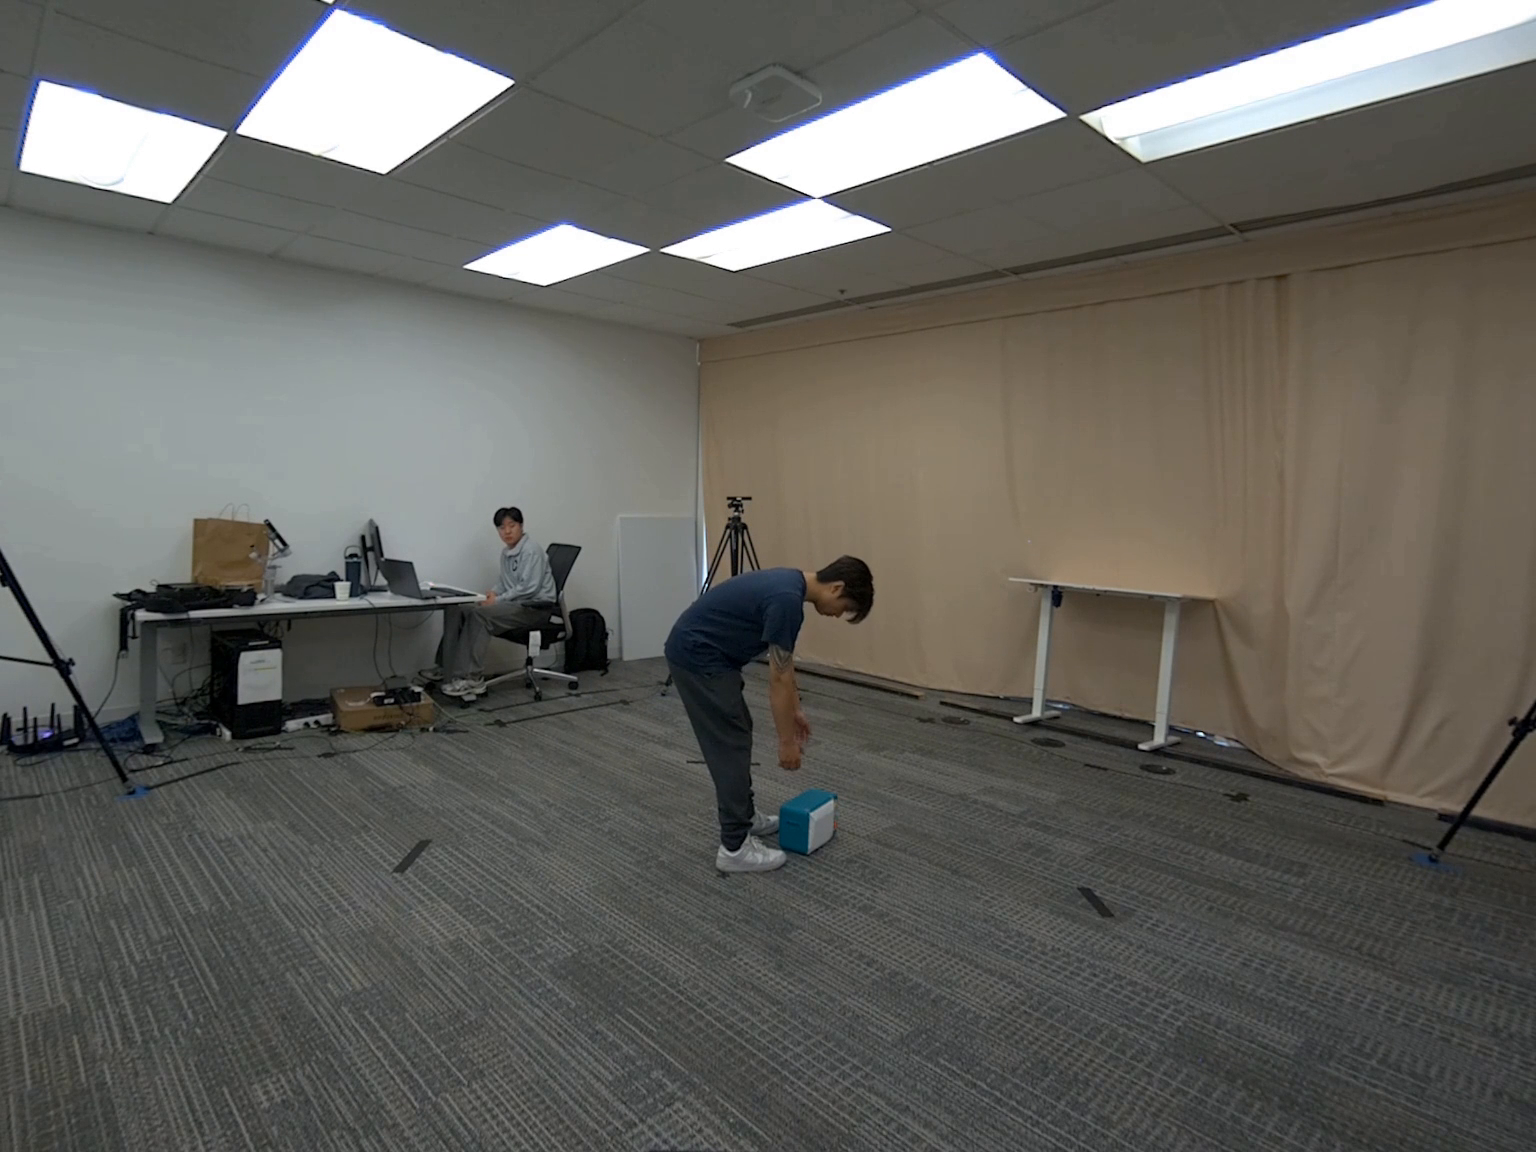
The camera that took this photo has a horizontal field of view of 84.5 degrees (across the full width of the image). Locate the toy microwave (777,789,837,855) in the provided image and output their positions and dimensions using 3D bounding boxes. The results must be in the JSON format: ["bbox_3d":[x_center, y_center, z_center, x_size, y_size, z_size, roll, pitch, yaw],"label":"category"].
[{"bbox_3d":[0.164,0.994,3.415,0.156,0.184,0.280,4,4,31],"label":"toy microwave"}]
